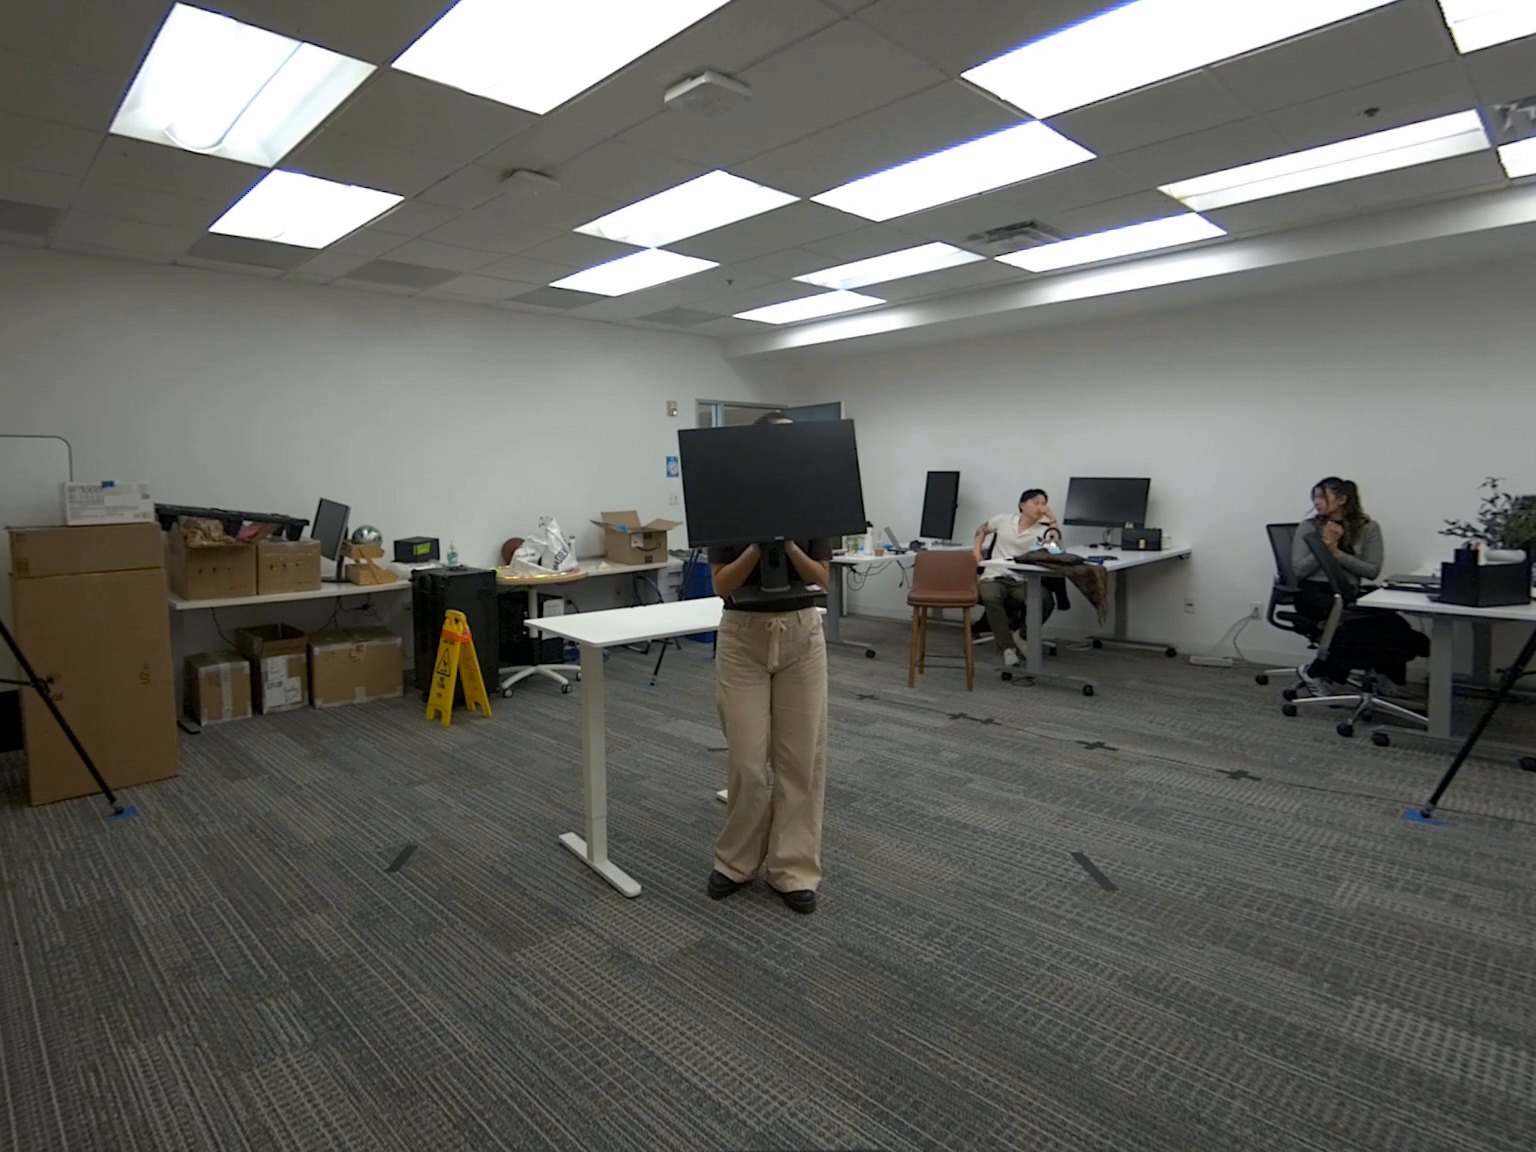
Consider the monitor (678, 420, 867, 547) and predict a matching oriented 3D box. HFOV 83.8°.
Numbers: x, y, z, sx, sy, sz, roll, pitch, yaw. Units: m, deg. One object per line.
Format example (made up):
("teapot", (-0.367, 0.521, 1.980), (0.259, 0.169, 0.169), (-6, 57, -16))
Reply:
("monitor", (0.007, -0.193, 2.557), (0.534, 0.519, 0.190), (-5, 7, -9))
